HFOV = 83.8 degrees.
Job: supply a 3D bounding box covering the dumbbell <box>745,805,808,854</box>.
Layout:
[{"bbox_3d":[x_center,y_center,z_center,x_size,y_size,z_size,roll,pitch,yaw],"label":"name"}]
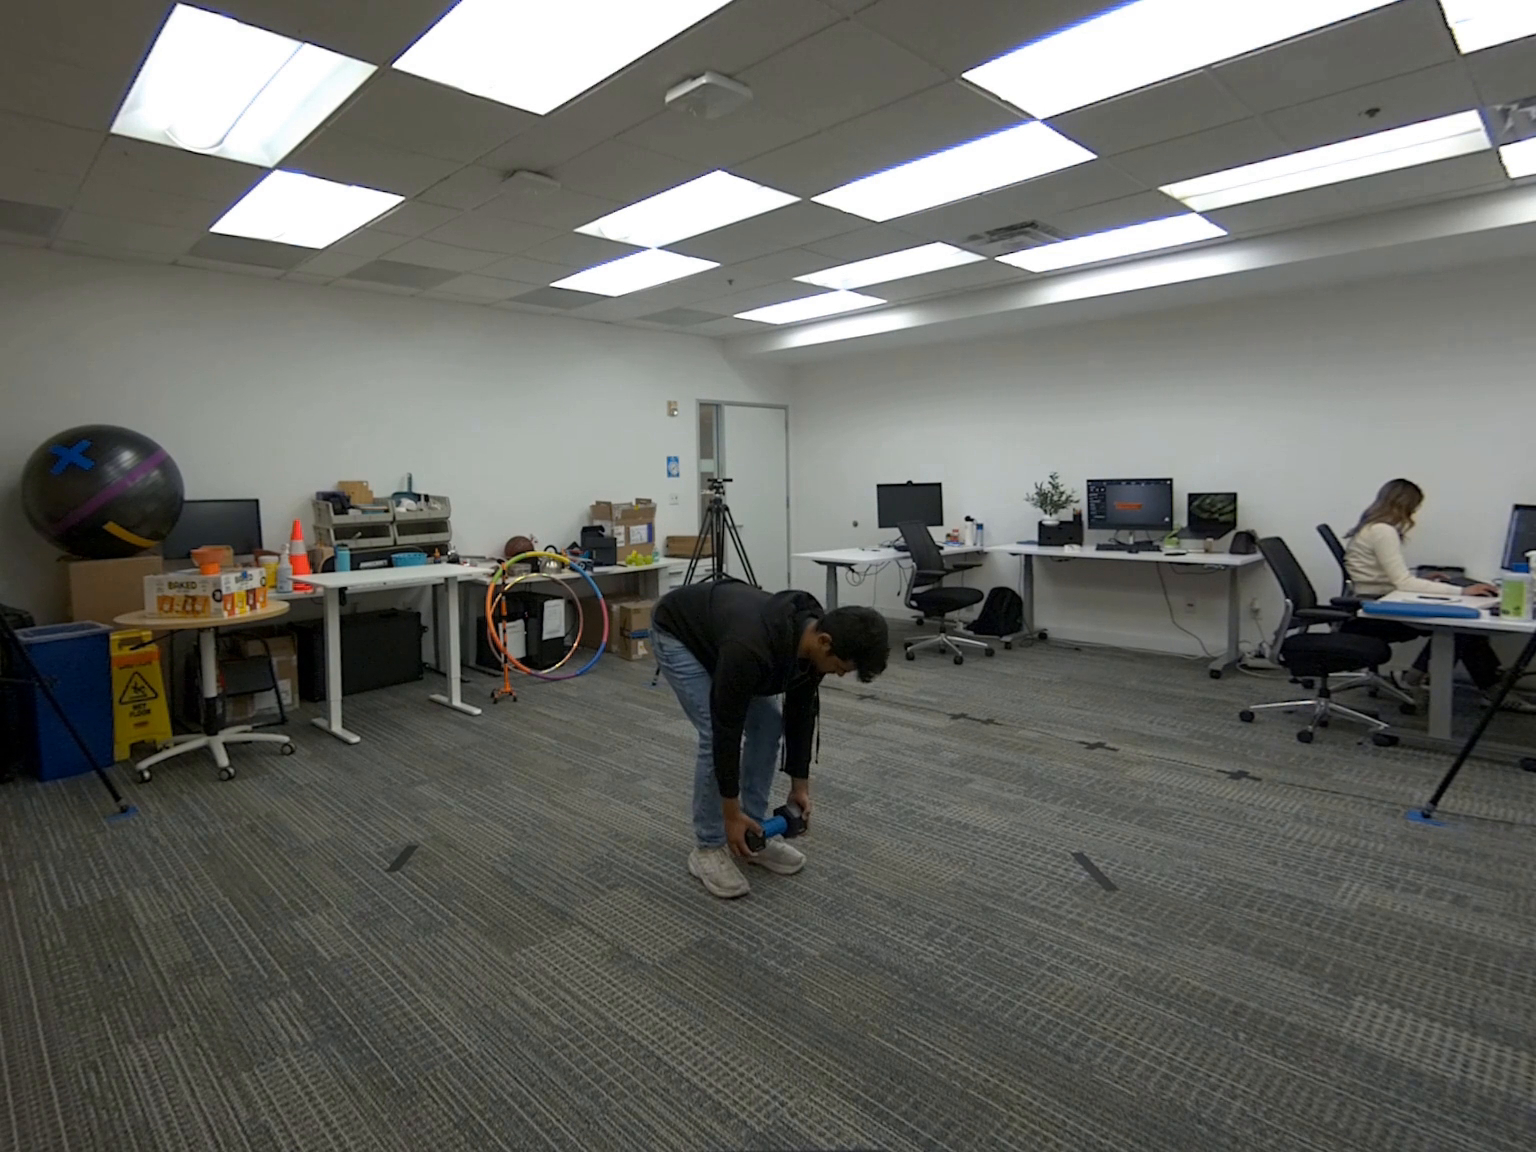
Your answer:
[{"bbox_3d":[0.010,0.872,2.936,0.286,0.111,0.124,-10,-20,-45],"label":"dumbbell"}]
